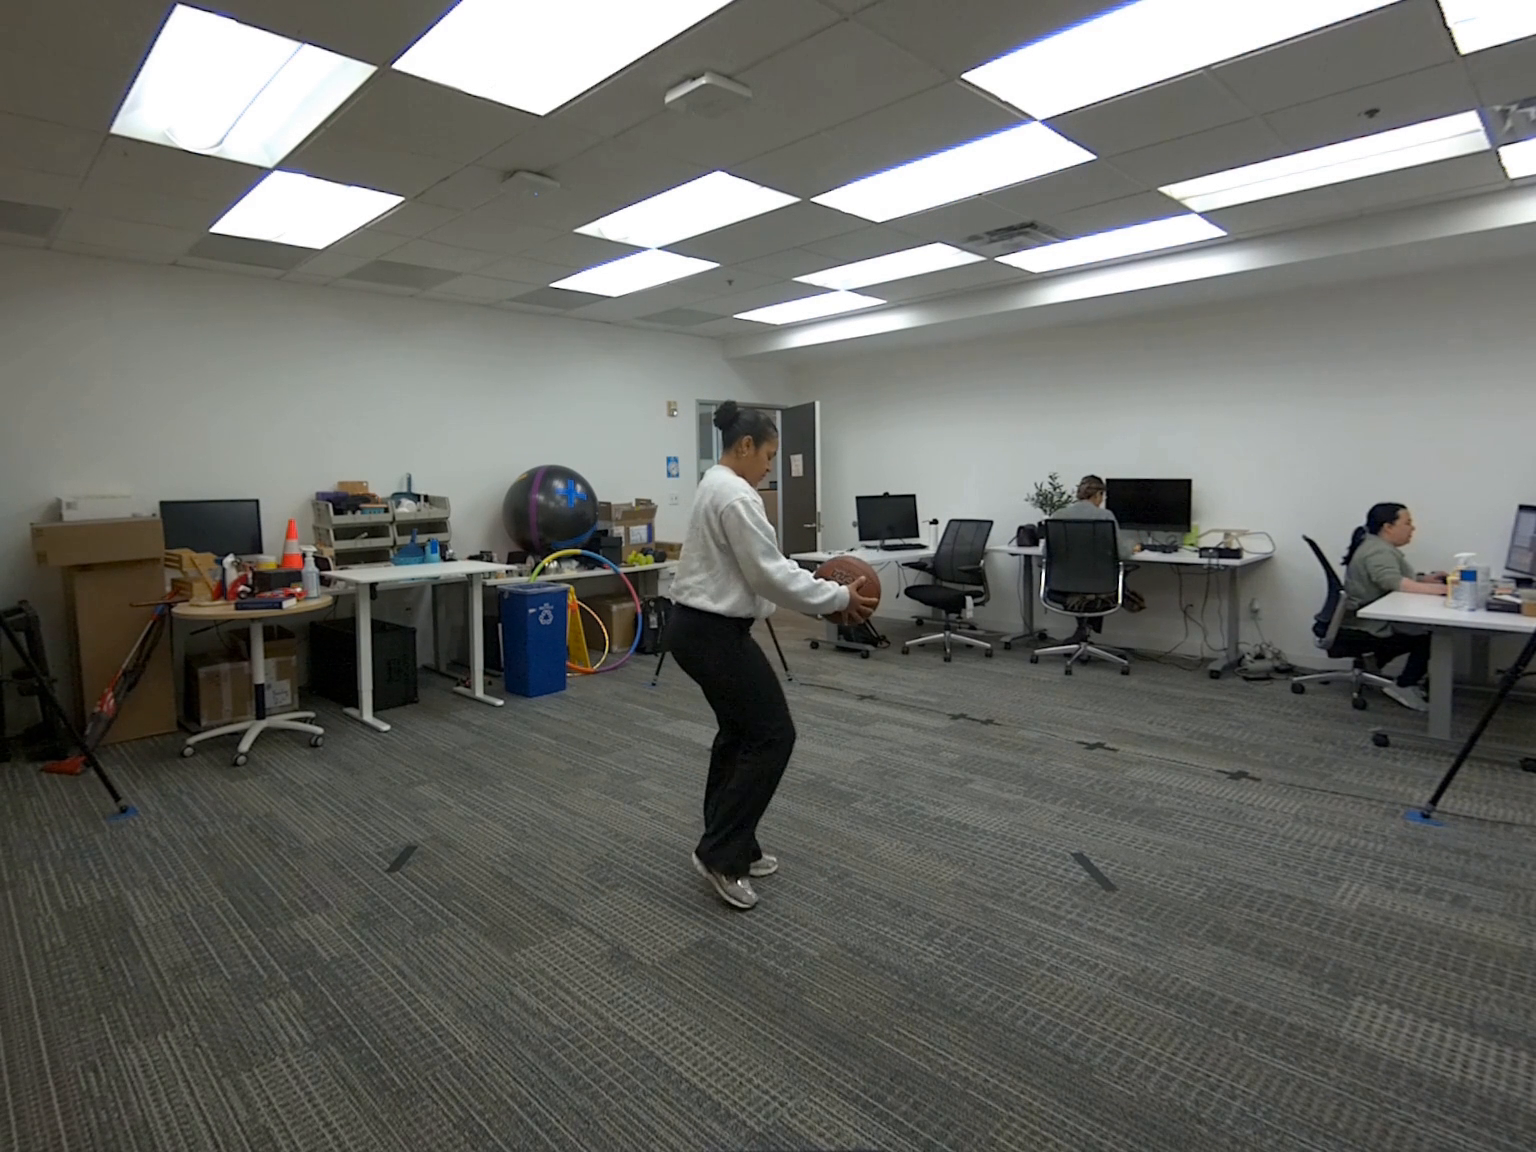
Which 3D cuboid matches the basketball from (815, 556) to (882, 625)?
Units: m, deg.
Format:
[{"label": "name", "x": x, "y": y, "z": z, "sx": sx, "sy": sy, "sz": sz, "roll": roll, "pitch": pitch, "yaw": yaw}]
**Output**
[{"label": "basketball", "x": 0.259, "y": 0.041, "z": 2.899, "sx": 0.236, "sy": 0.235, "sz": 0.237, "roll": -1, "pitch": 5, "yaw": -2}]
